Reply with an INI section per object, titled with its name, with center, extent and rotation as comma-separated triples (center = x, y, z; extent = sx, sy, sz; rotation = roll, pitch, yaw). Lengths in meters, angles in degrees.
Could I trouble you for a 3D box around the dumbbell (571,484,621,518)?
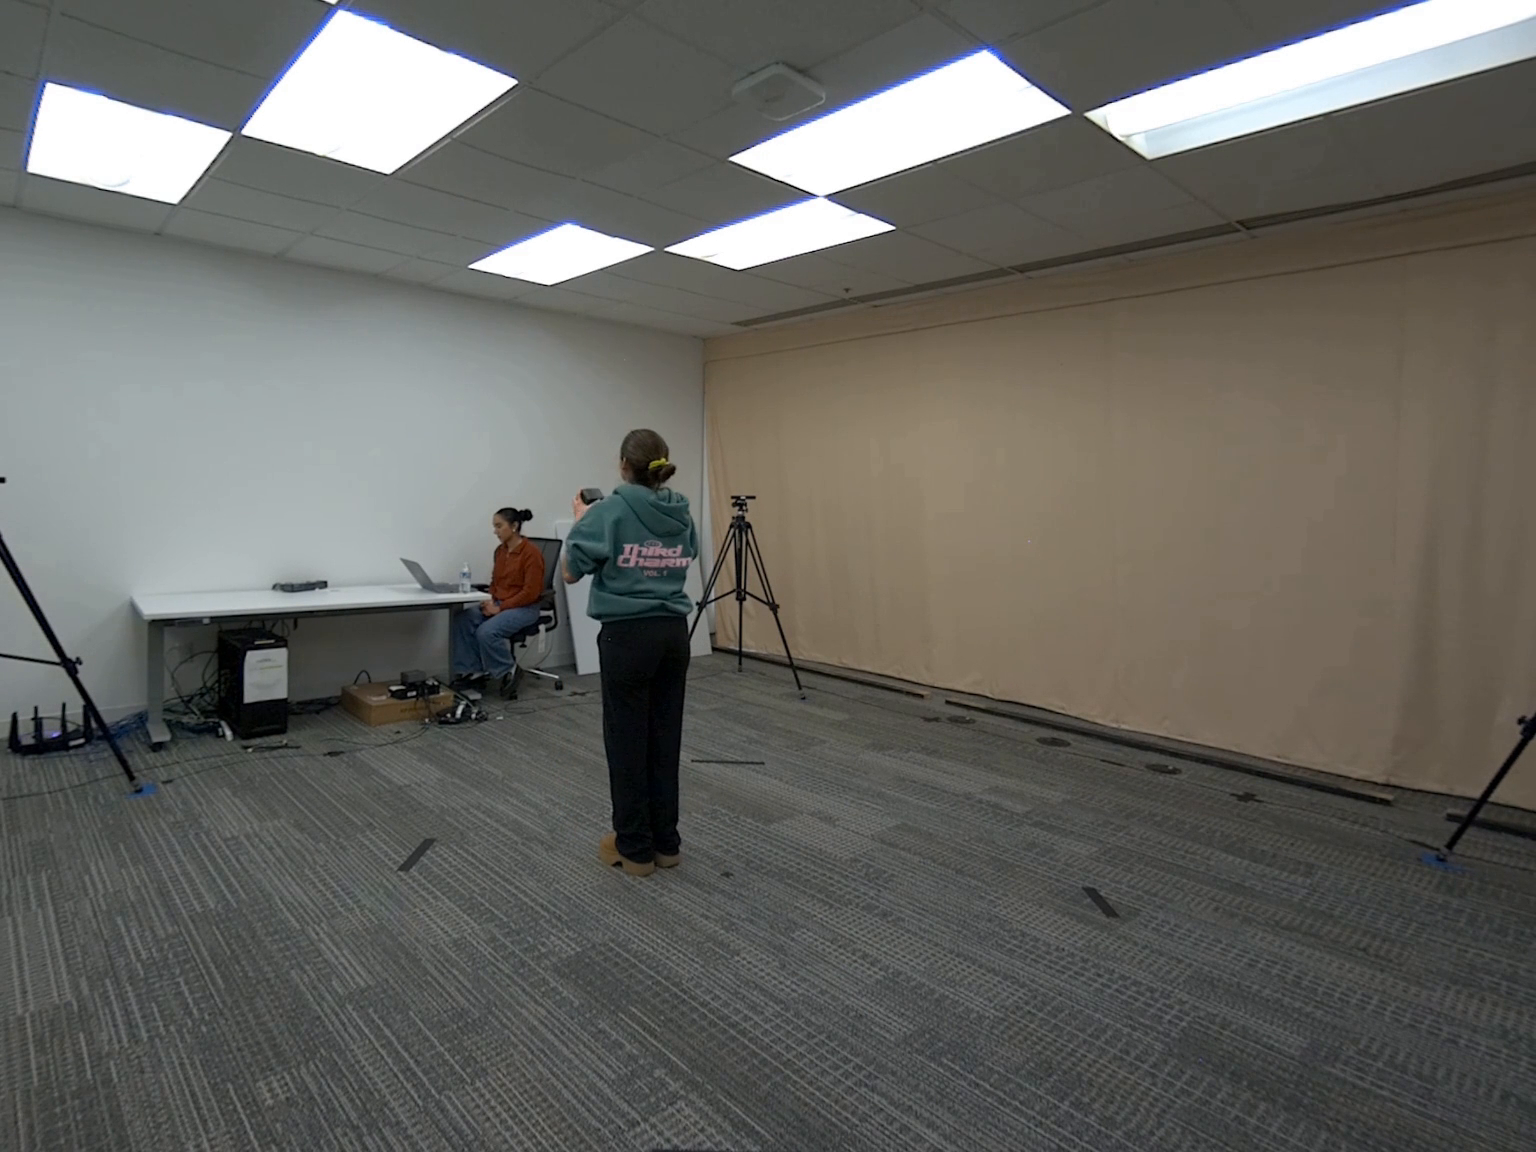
[dumbbell]
center = -0.601, -0.277, 3.305
extent = 0.287, 0.108, 0.127
rotation = -5, 43, -40
